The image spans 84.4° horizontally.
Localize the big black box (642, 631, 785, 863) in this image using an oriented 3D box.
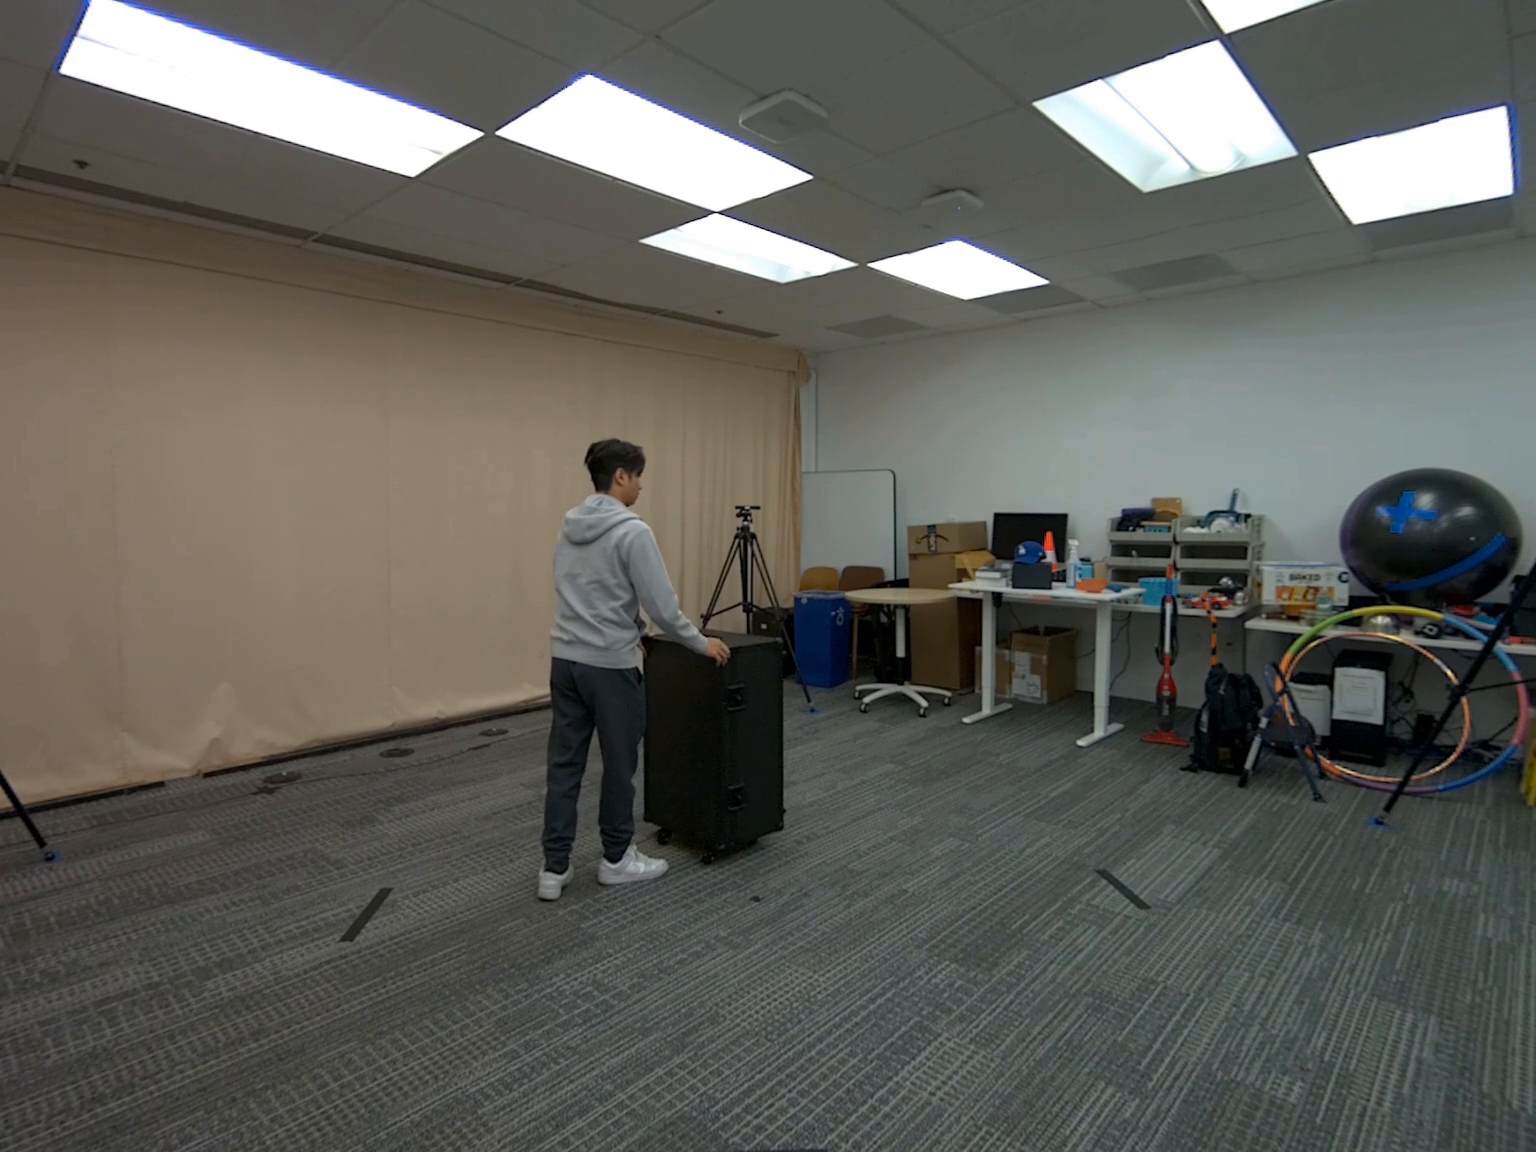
[{"bbox_3d":[-0.225,0.677,3.492,0.384,0.860,0.538,-1,3,-44],"label":"big black box"}]
